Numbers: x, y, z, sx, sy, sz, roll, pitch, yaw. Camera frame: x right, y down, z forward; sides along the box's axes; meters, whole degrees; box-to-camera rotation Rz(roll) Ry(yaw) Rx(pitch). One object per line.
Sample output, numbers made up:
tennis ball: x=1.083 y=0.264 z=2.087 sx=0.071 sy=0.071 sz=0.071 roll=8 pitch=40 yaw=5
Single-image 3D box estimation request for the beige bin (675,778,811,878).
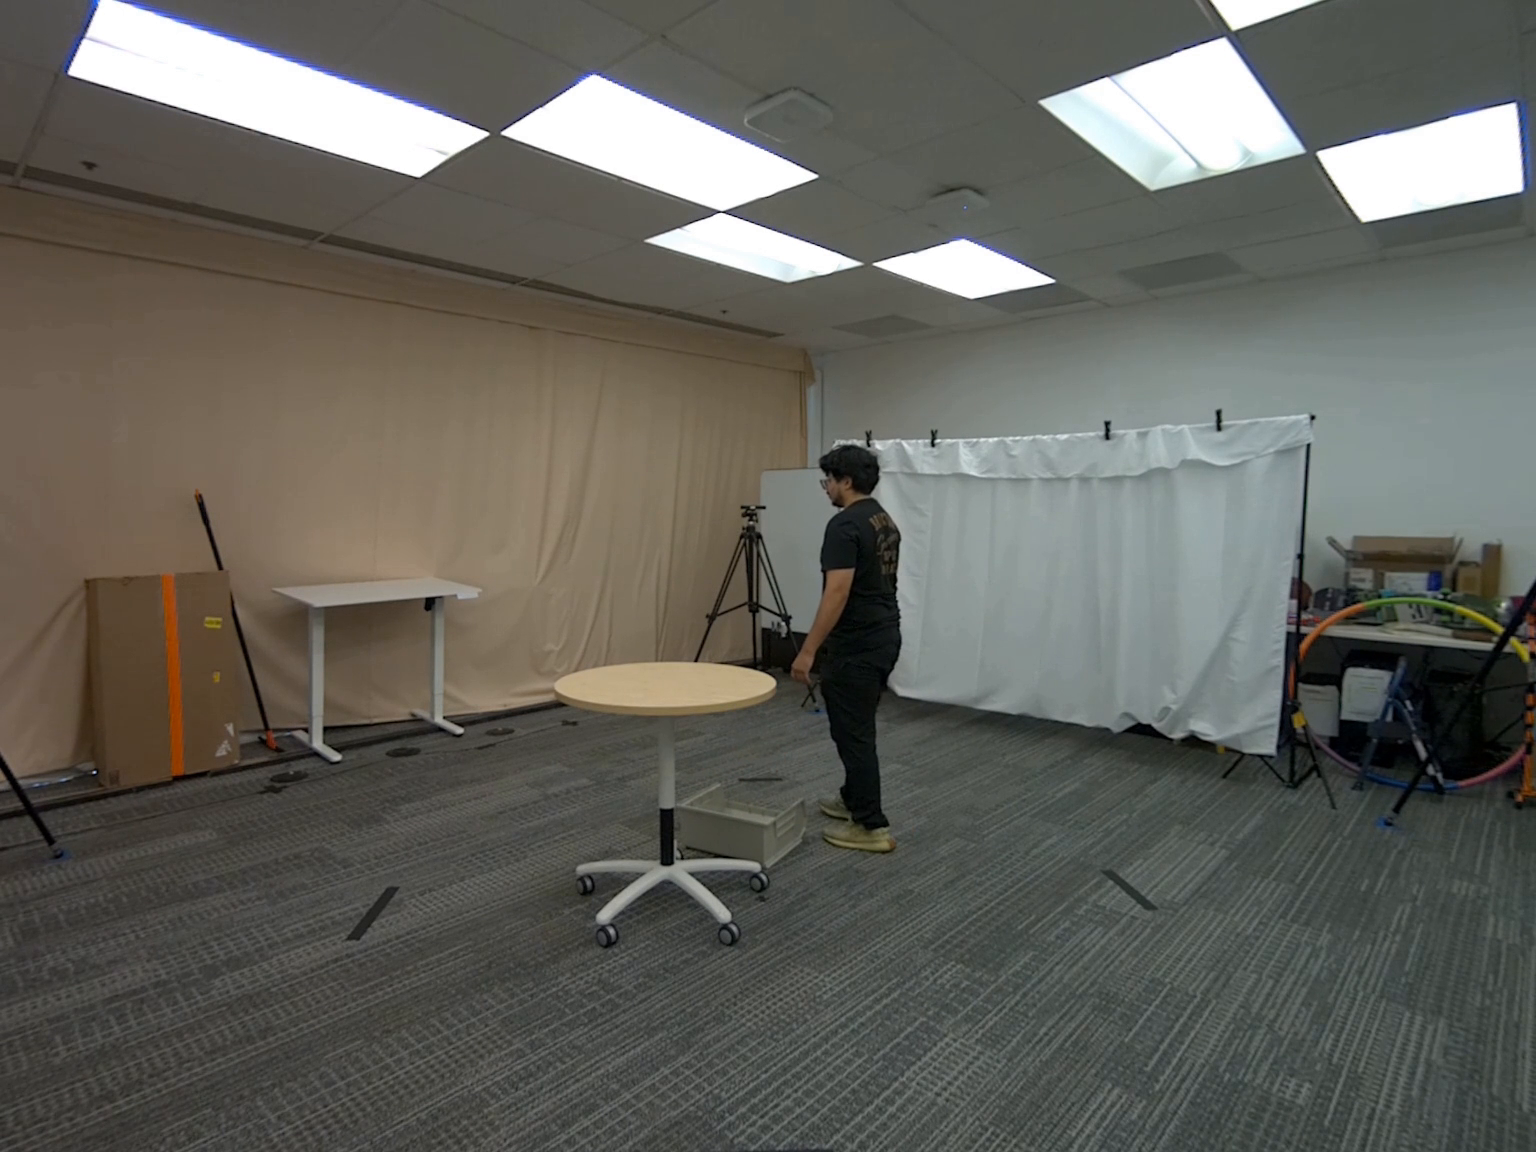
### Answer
beige bin: x=-0.101 y=1.014 z=3.470 sx=0.434 sy=0.188 sz=0.368 roll=4 pitch=7 yaw=29
